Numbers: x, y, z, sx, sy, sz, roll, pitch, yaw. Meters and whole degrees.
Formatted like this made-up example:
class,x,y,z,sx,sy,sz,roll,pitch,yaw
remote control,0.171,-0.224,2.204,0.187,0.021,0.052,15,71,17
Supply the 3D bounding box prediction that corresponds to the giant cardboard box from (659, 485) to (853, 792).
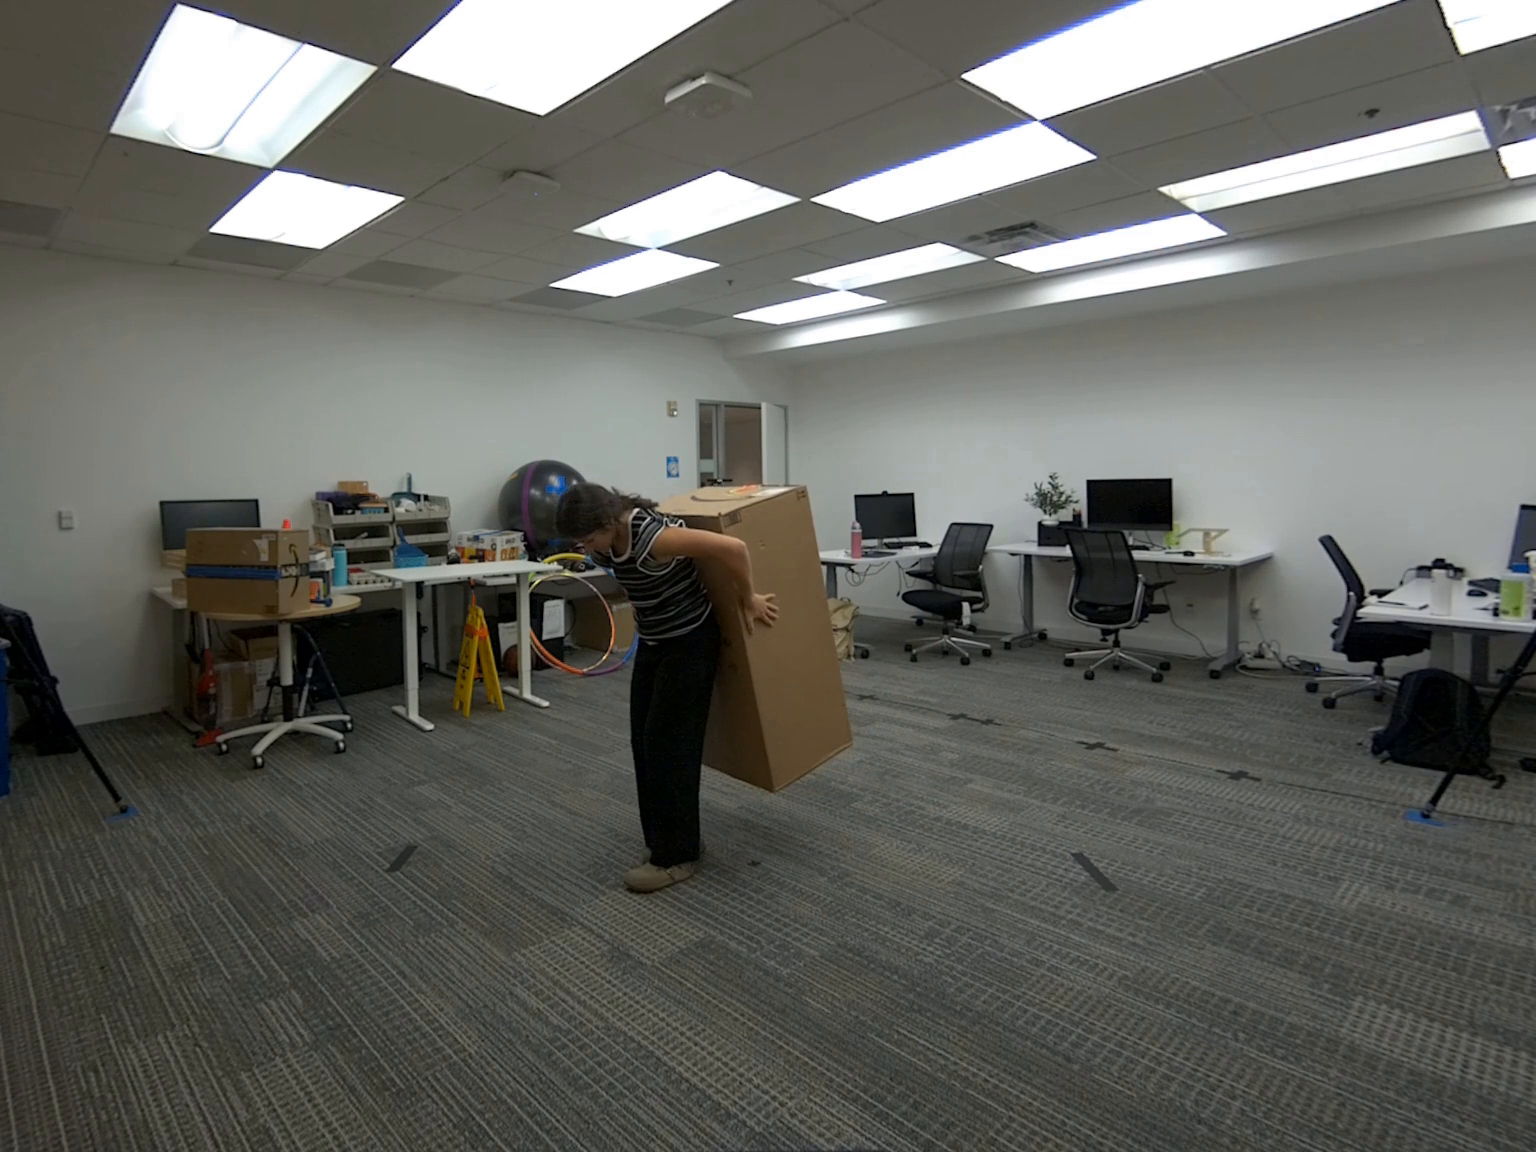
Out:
class,x,y,z,sx,sy,sz,roll,pitch,yaw
giant cardboard box,-0.098,0.208,3.268,0.419,1.014,0.595,-20,14,-38
